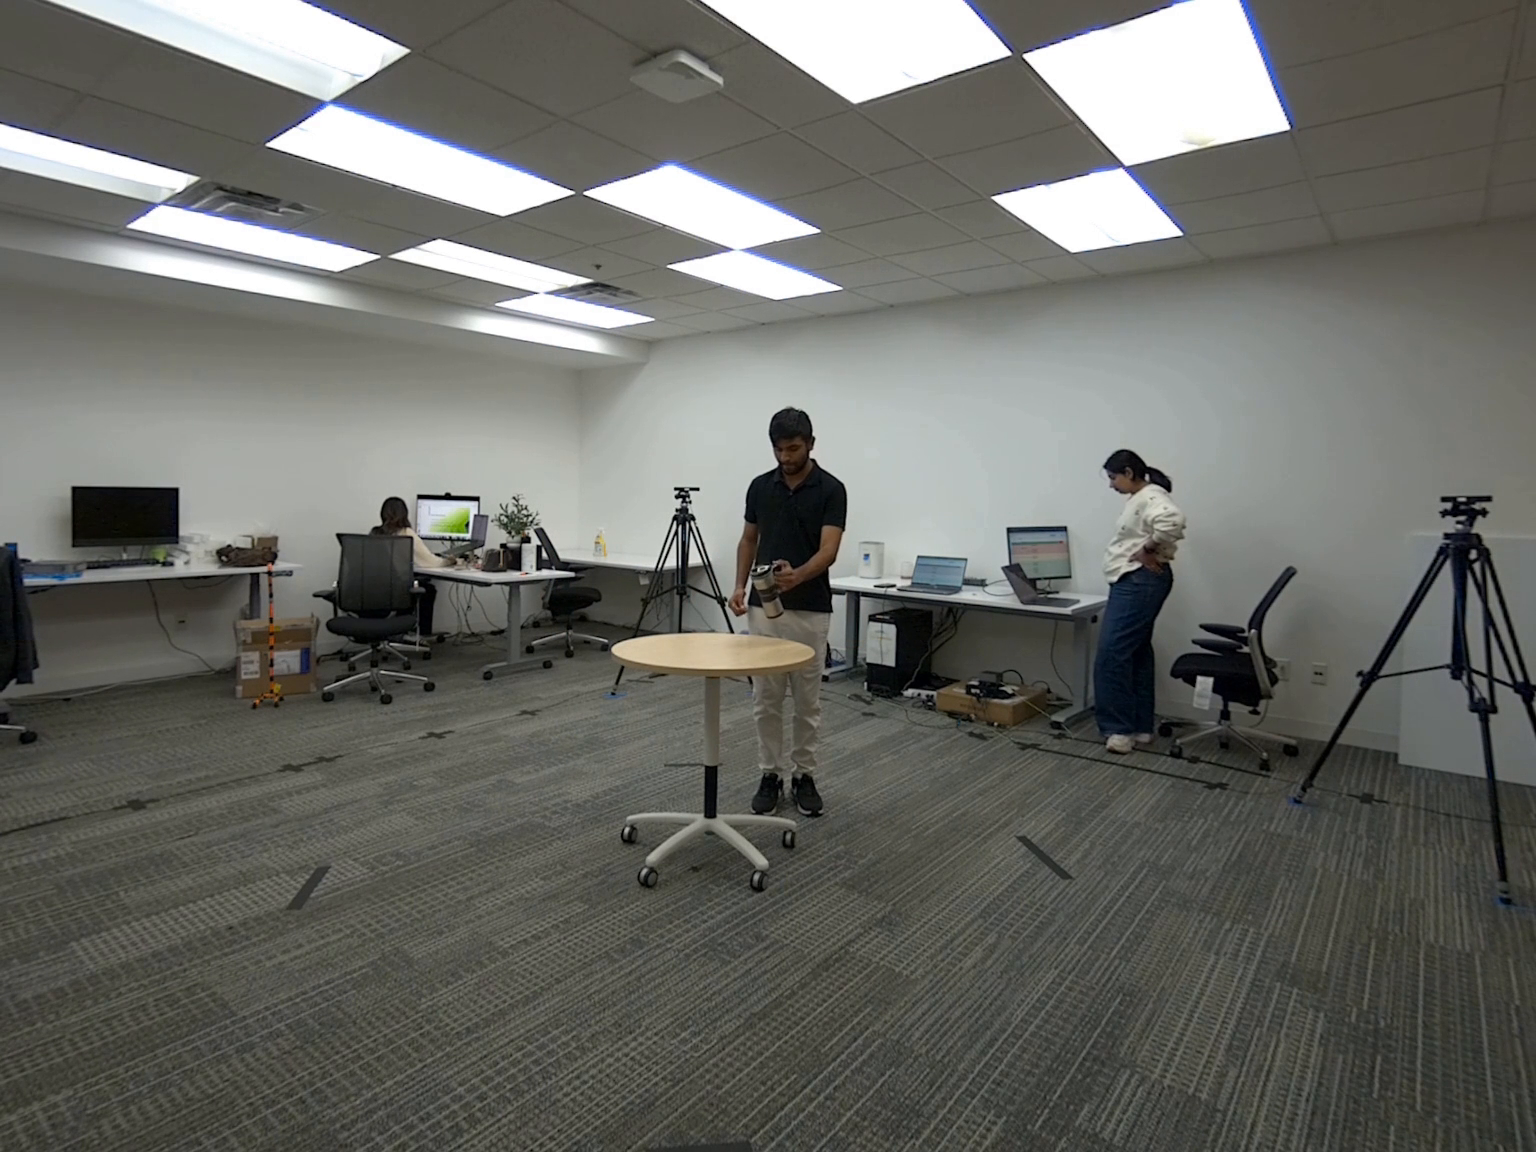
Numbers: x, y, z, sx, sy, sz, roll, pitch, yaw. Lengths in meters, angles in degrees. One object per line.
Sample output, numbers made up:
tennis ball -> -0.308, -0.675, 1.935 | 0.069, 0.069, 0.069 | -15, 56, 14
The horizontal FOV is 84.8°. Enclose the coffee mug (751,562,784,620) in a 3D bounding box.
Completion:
coffee mug -> 0.014, 0.051, 3.257 | 0.090, 0.199, 0.121 | -2, 25, 45
